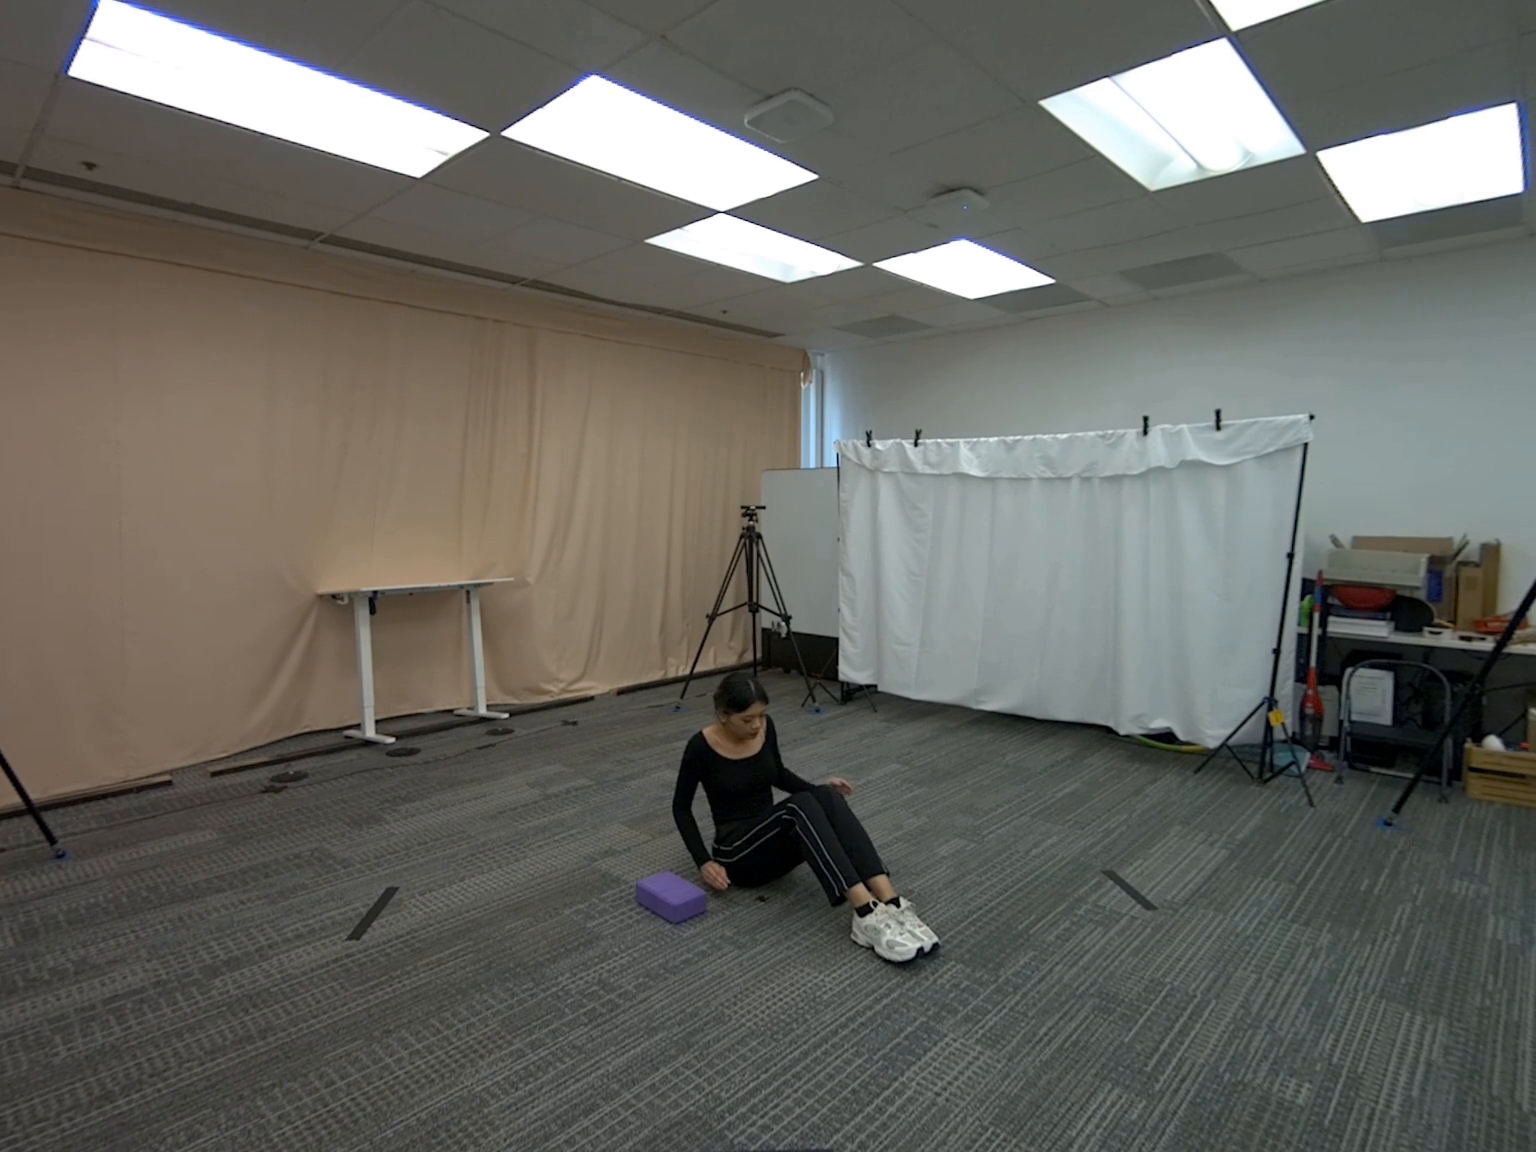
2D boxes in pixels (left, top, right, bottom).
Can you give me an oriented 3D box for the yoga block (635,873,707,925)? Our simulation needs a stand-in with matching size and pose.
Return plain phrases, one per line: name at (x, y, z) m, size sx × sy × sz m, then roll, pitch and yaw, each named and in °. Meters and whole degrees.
yoga block at (-0.336, 1.115, 2.926) m, size 0.144 × 0.076 × 0.237 m, roll -4°, pitch 7°, yaw -44°
